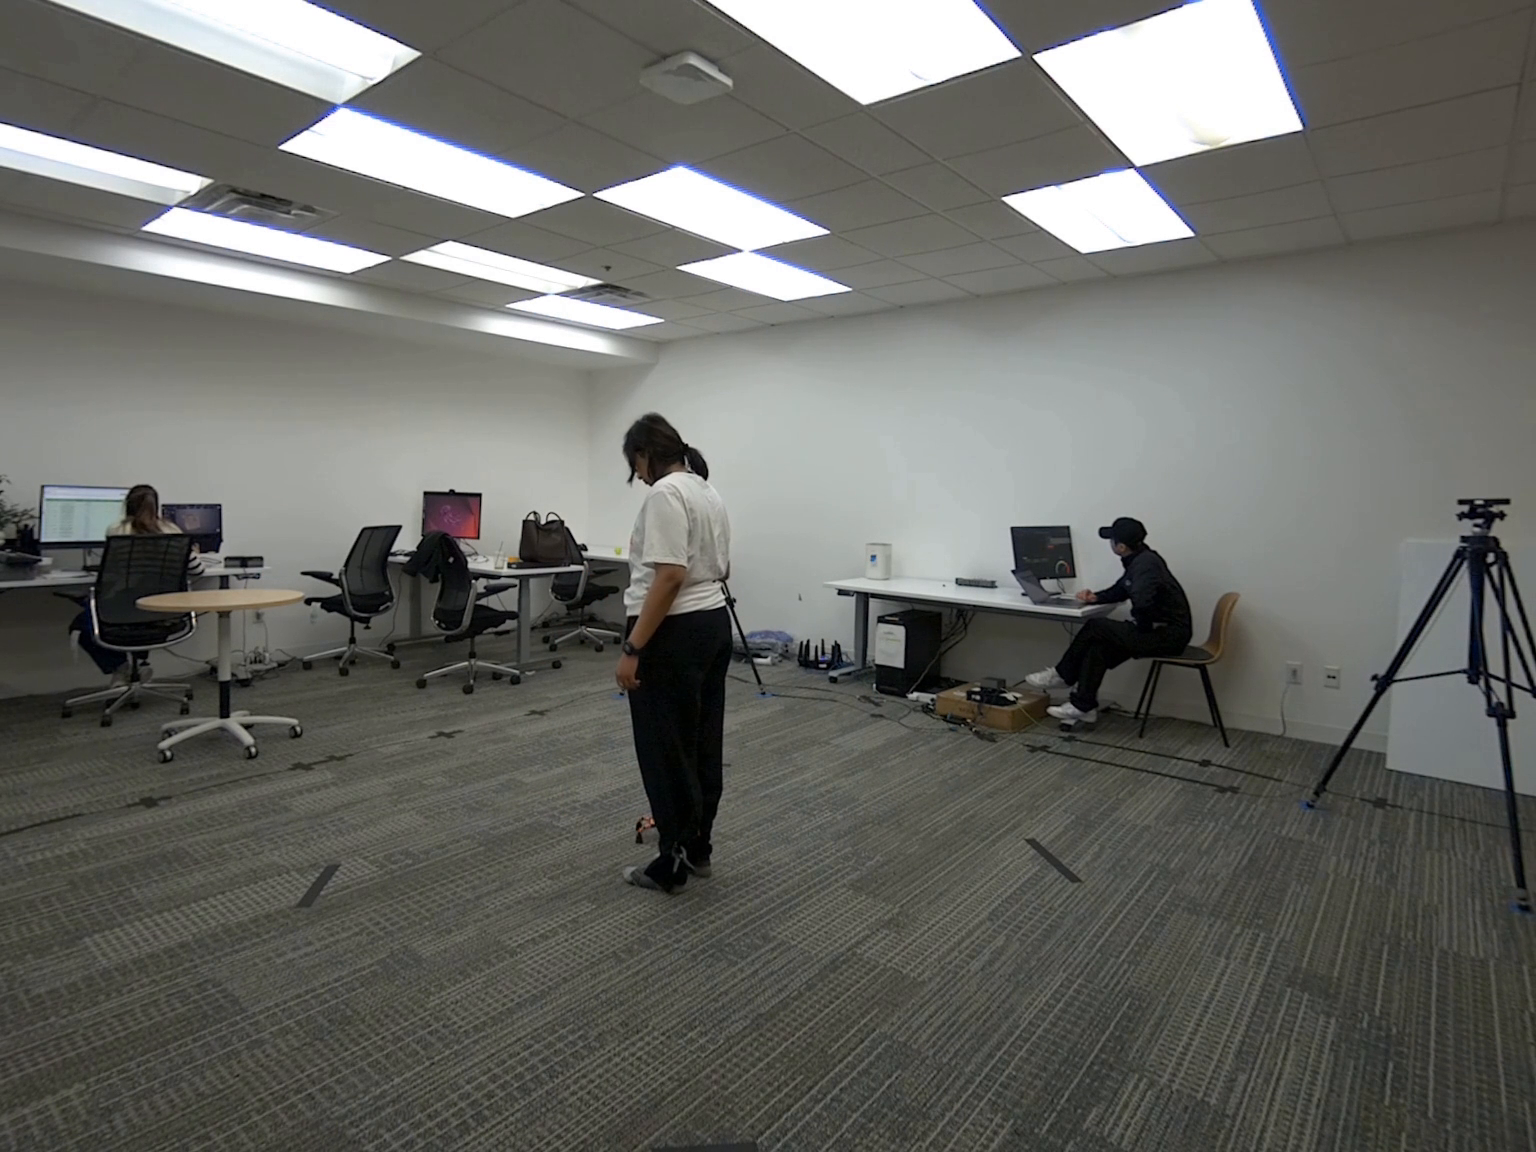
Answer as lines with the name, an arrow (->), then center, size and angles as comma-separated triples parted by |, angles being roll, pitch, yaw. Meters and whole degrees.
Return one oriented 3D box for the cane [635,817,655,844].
cane -> -0.437, 0.578, 3.388 | 0.205, 0.906, 0.152 | 0, 1, -5
